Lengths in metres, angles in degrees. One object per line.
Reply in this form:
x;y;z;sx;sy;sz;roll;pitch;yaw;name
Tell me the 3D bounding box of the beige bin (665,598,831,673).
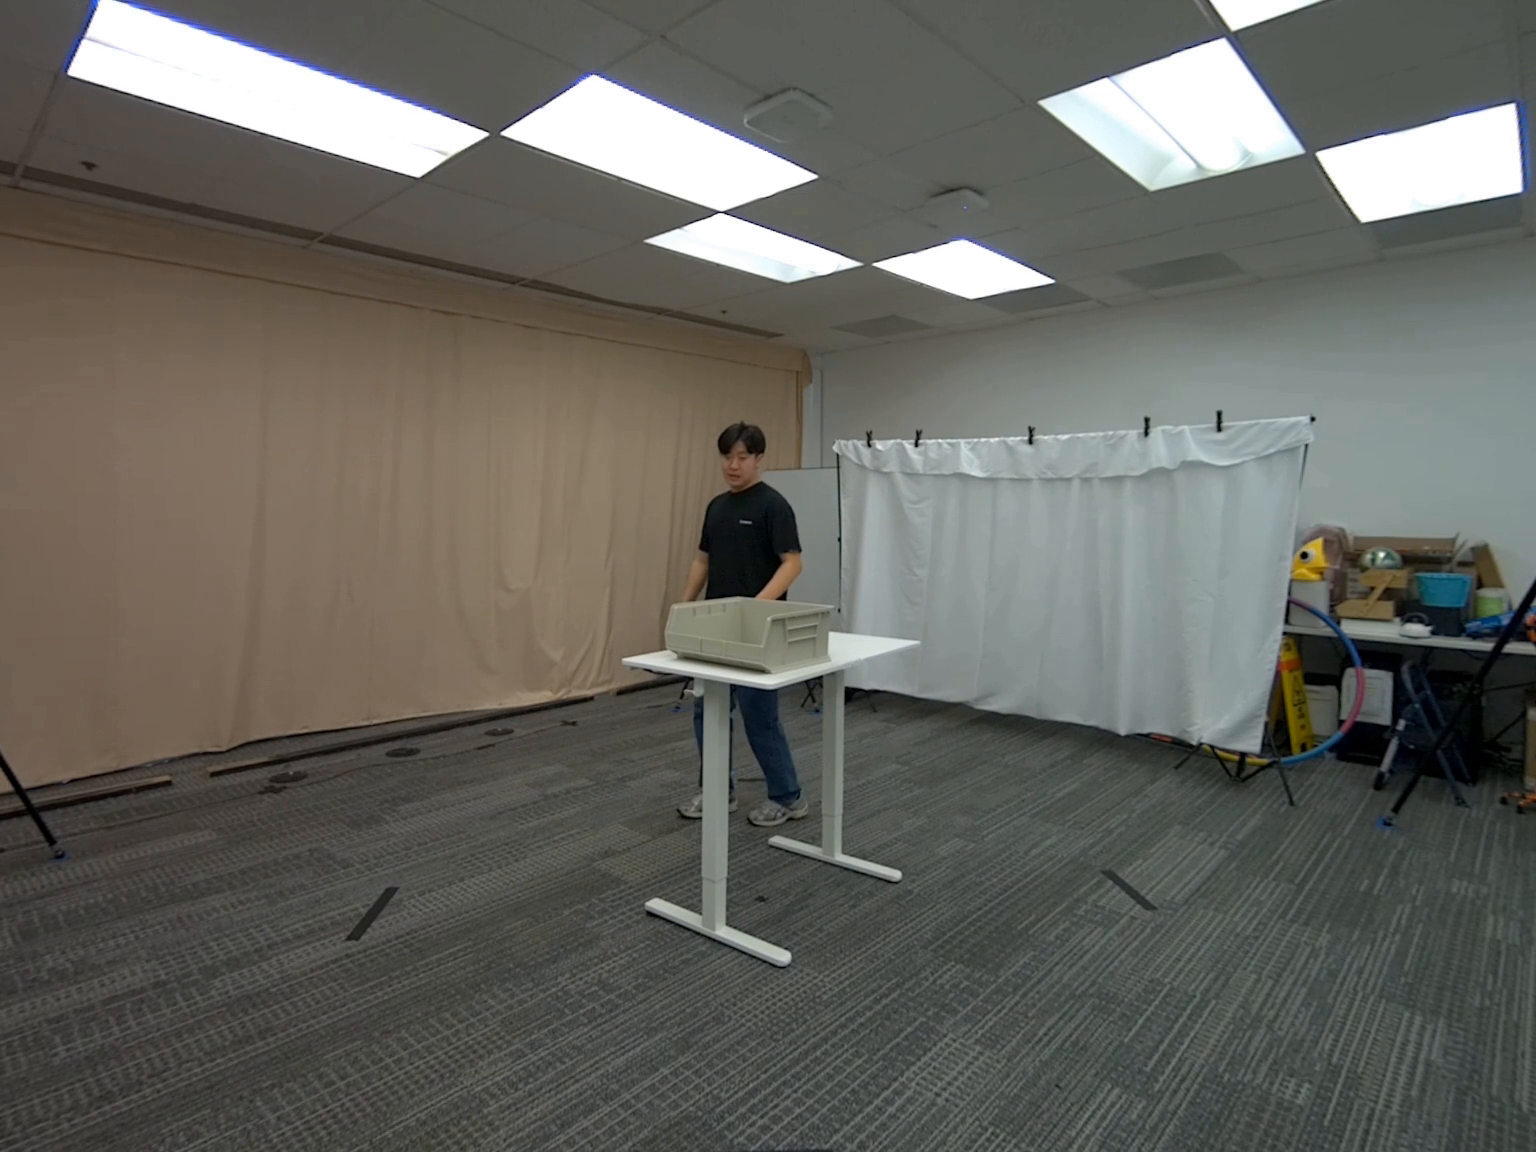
-0.059;0.191;2.766;0.436;0.189;0.365;4;4;41;beige bin
